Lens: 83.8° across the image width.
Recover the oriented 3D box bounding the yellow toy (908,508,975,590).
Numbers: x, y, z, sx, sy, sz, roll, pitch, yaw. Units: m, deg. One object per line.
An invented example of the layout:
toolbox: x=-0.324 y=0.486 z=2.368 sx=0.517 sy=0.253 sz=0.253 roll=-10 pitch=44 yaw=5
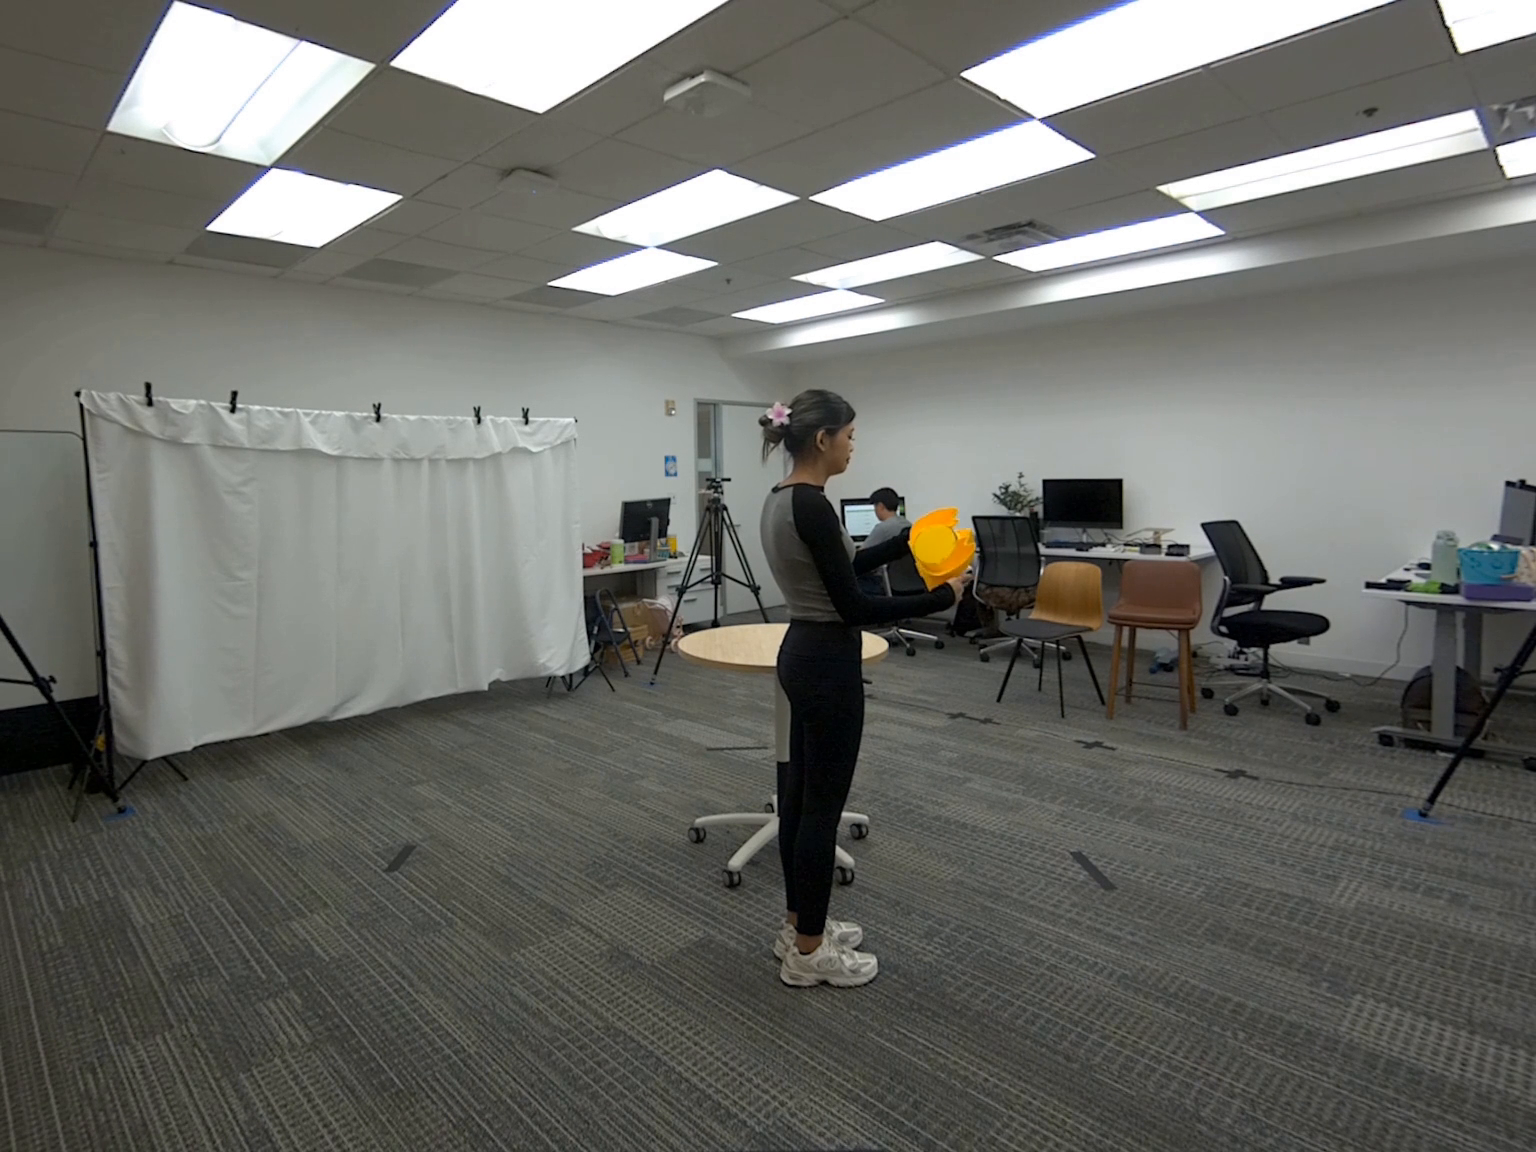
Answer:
yellow toy: x=0.528 y=-0.048 z=2.453 sx=0.194 sy=0.211 sz=0.222 roll=-31 pitch=-40 yaw=20
